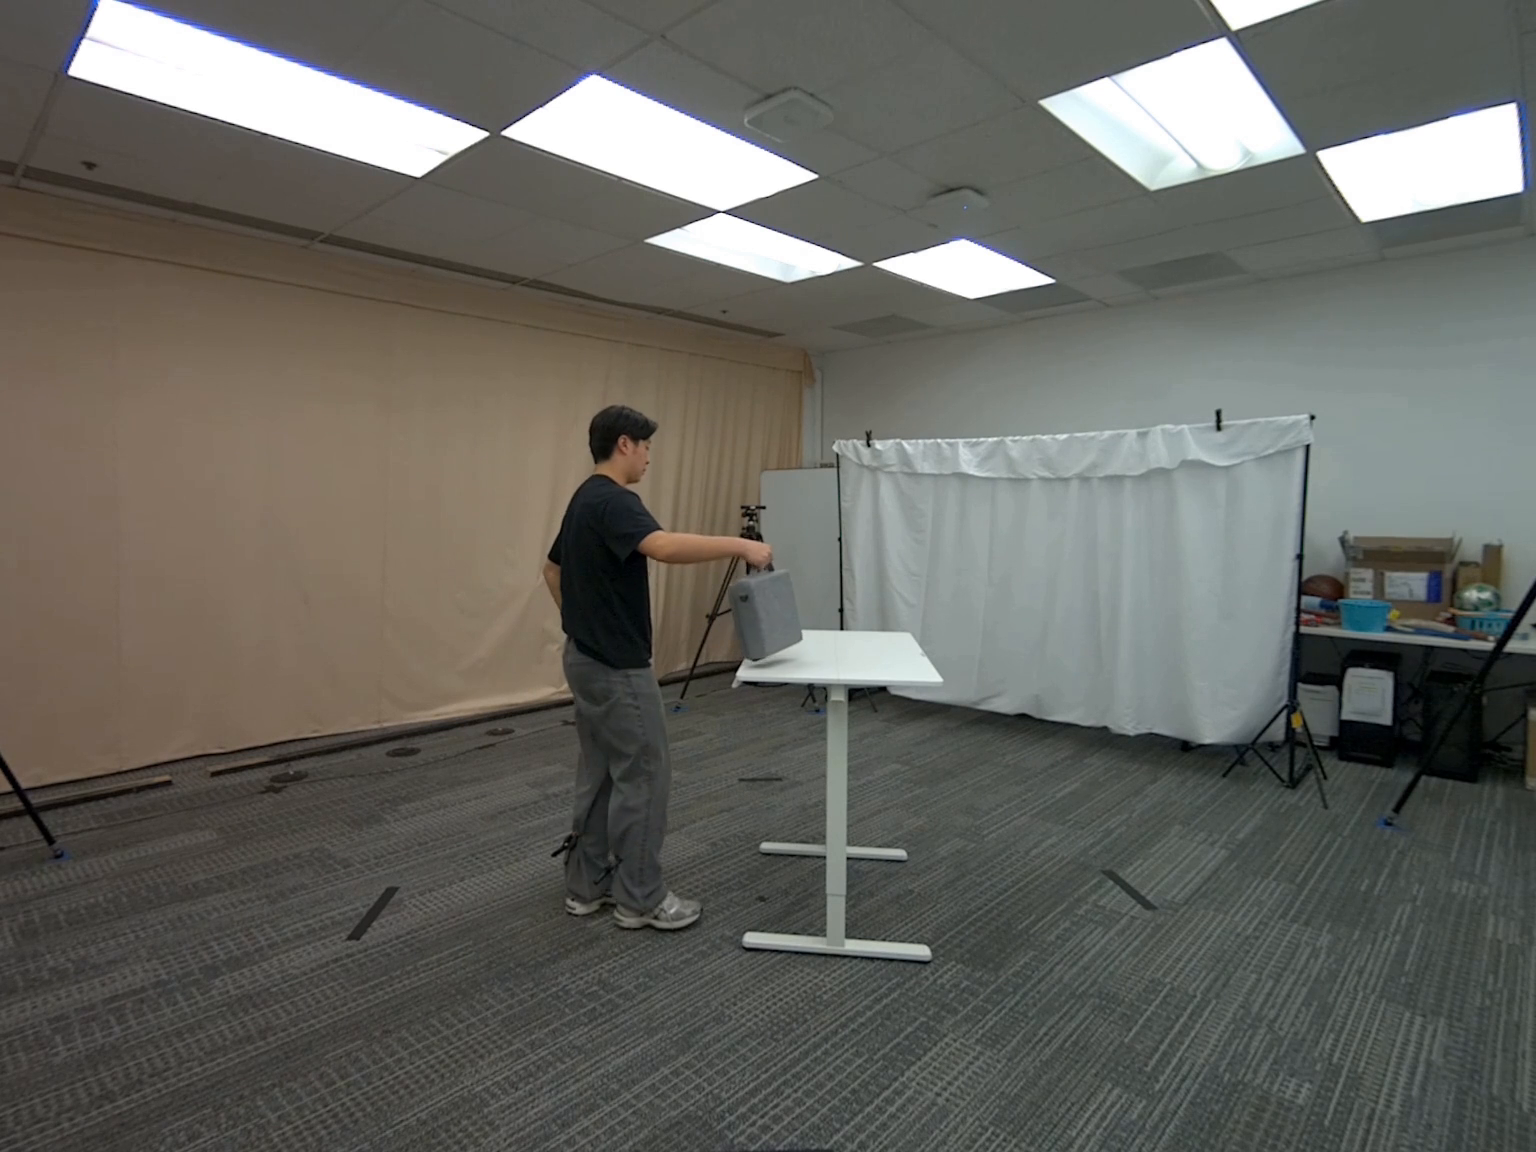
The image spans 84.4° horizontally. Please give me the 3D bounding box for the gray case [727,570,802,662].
[{"bbox_3d":[-0.004,0.104,2.682,0.106,0.286,0.257,-6,5,31],"label":"gray case"}]
